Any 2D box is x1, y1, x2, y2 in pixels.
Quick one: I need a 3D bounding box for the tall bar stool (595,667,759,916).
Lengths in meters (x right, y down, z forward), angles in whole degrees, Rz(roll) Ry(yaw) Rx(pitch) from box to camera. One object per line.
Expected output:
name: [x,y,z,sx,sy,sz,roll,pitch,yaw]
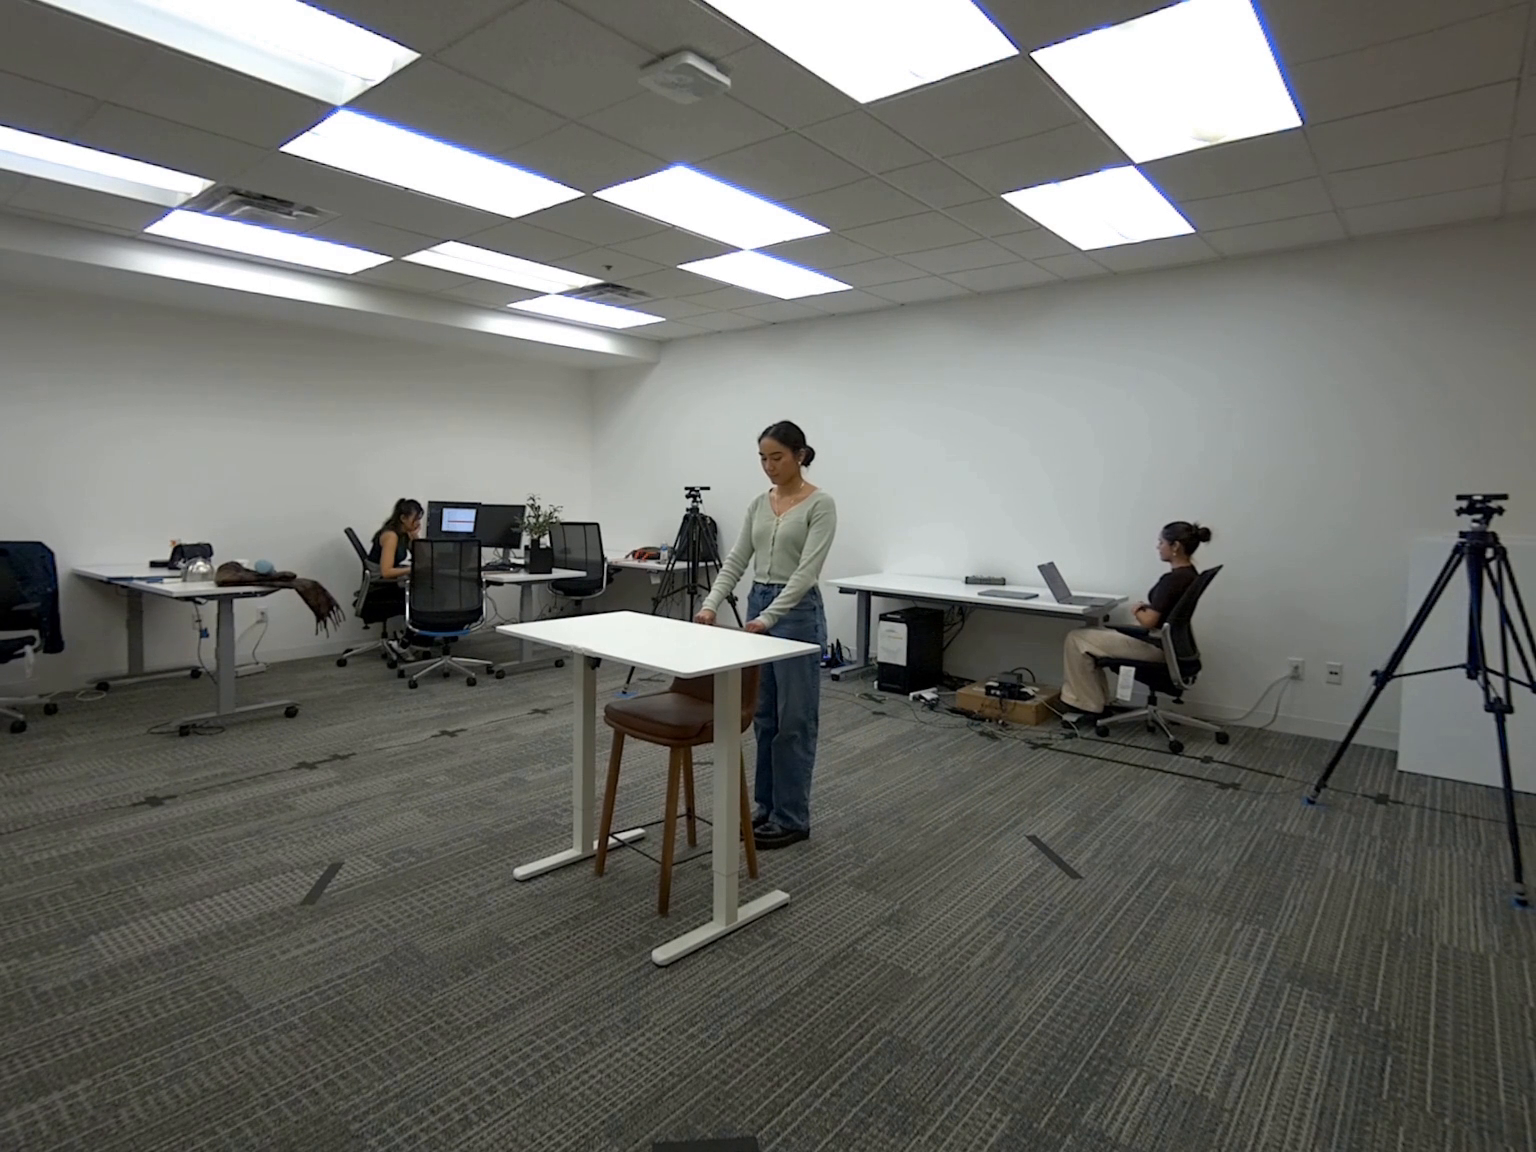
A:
tall bar stool: [-0.314,0.638,3.026,0.453,0.889,0.472,1,2,-43]
